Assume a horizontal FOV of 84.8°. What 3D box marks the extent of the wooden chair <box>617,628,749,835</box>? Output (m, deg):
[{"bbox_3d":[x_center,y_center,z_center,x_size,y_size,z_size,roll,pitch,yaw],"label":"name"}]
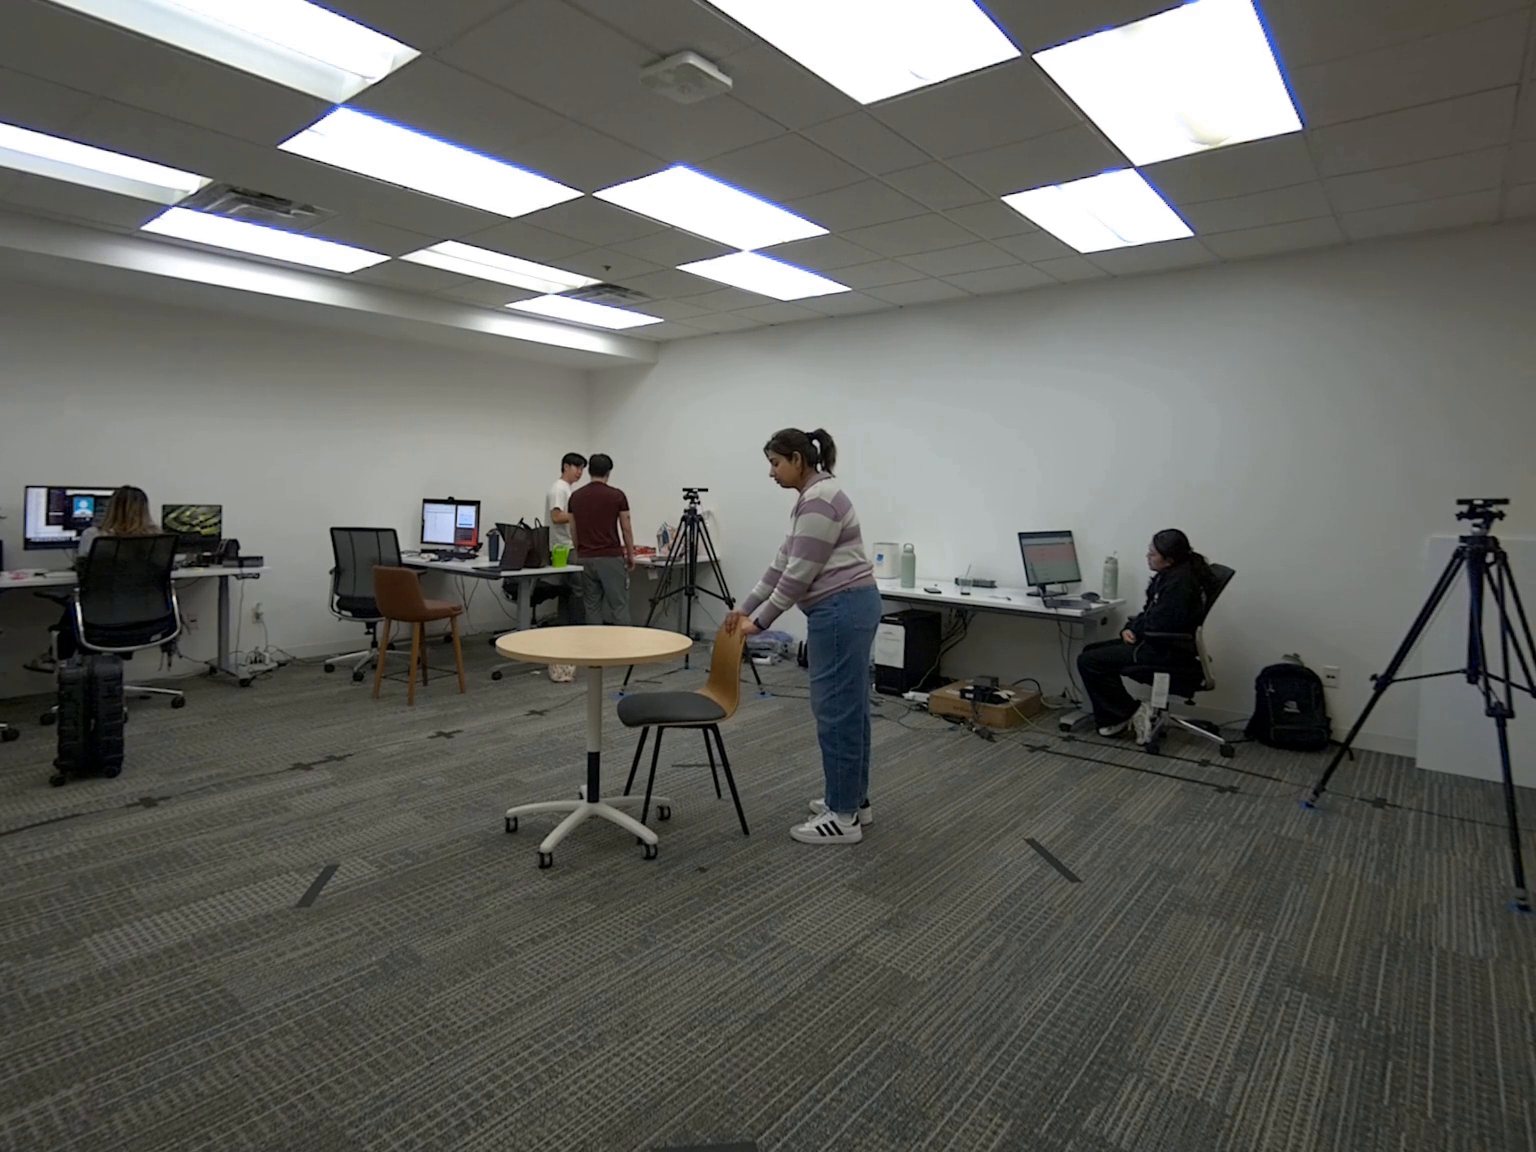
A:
[{"bbox_3d":[-0.368,0.598,3.556,0.513,0.875,0.488,4,3,-18],"label":"wooden chair"}]
